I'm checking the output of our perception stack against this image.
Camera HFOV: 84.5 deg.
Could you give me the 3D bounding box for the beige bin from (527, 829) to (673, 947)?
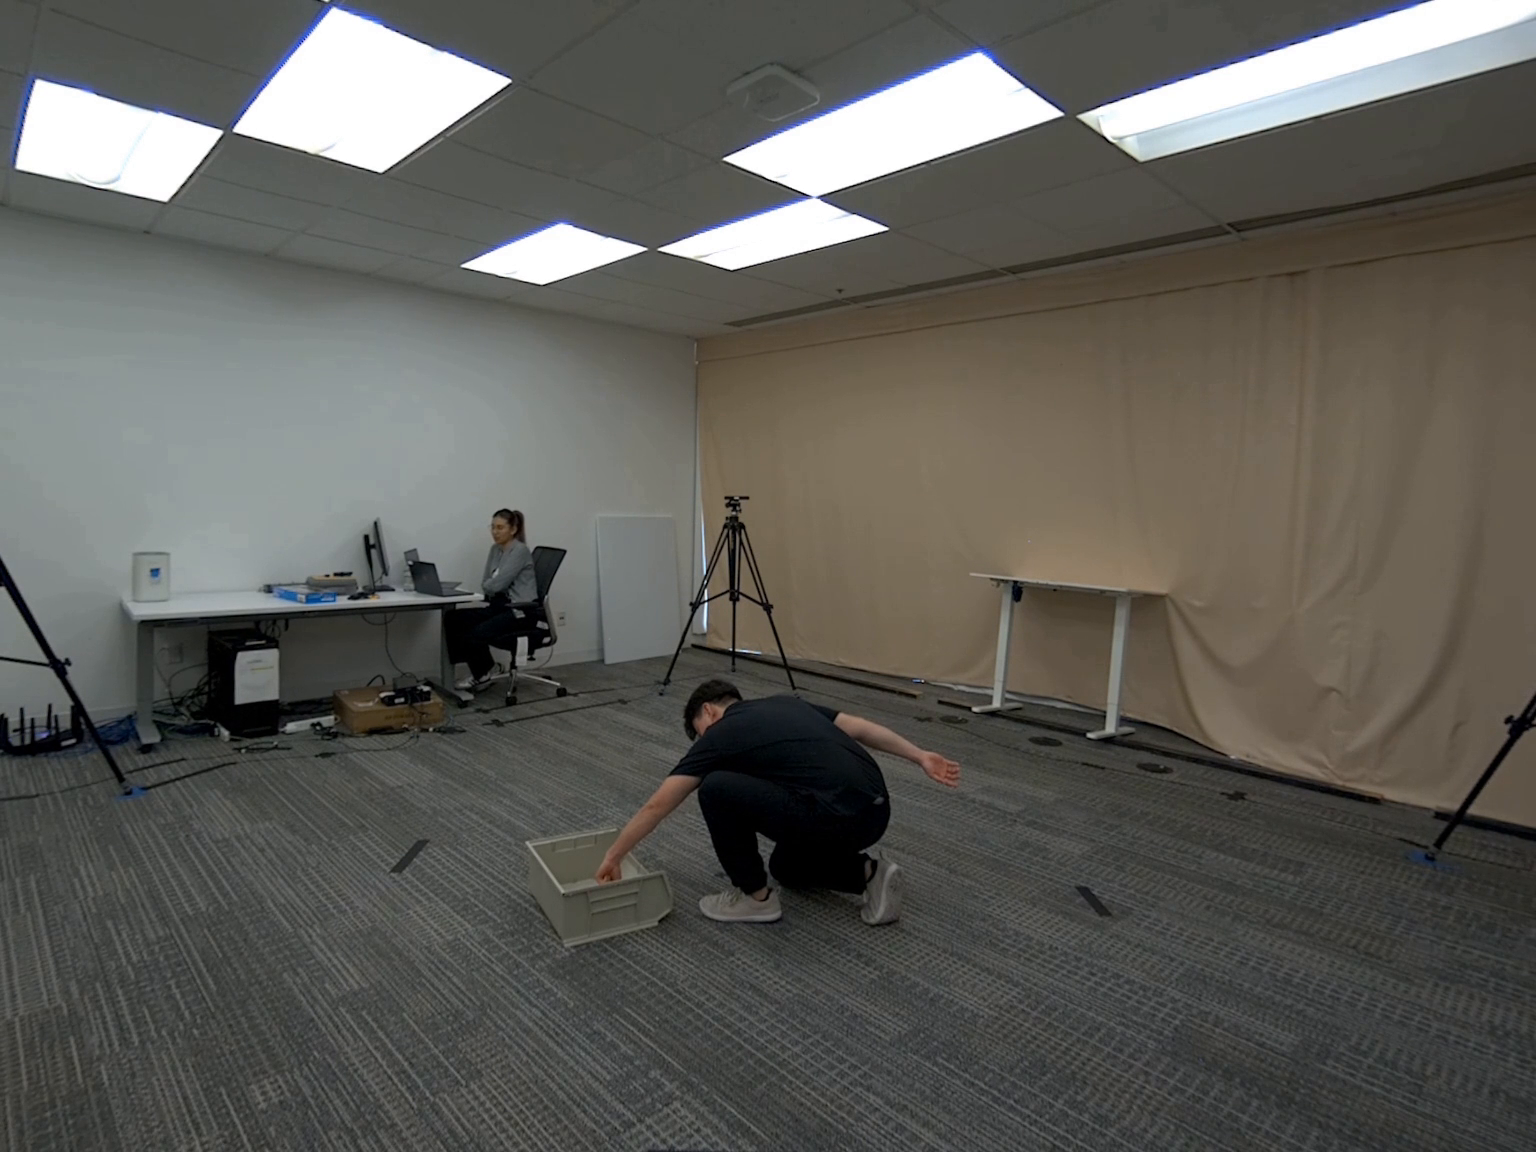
[{"bbox_3d":[-0.576,1.024,2.839,0.370,0.188,0.432,-2,7,-30],"label":"beige bin"}]
